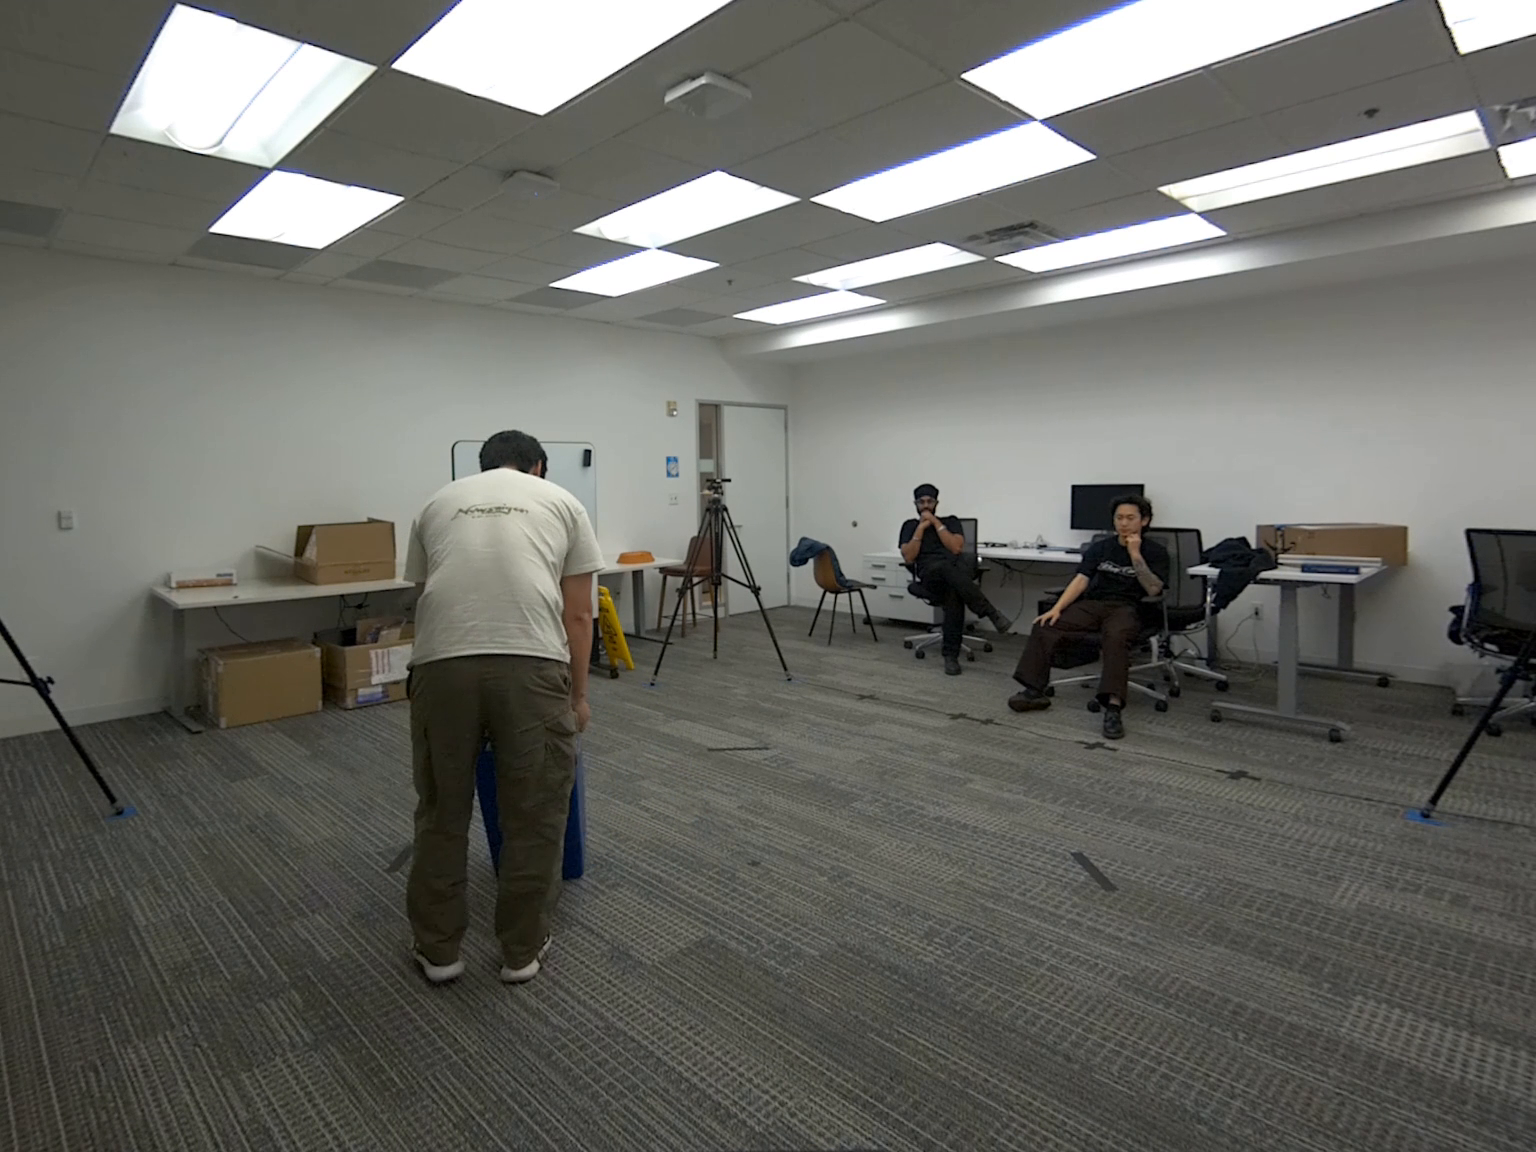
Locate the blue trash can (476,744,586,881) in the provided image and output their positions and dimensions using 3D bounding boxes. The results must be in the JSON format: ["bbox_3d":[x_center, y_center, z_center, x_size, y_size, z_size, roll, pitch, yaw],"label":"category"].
[{"bbox_3d":[-0.817,0.688,2.964,0.375,0.698,0.385,-3,29,-9],"label":"blue trash can"}]
